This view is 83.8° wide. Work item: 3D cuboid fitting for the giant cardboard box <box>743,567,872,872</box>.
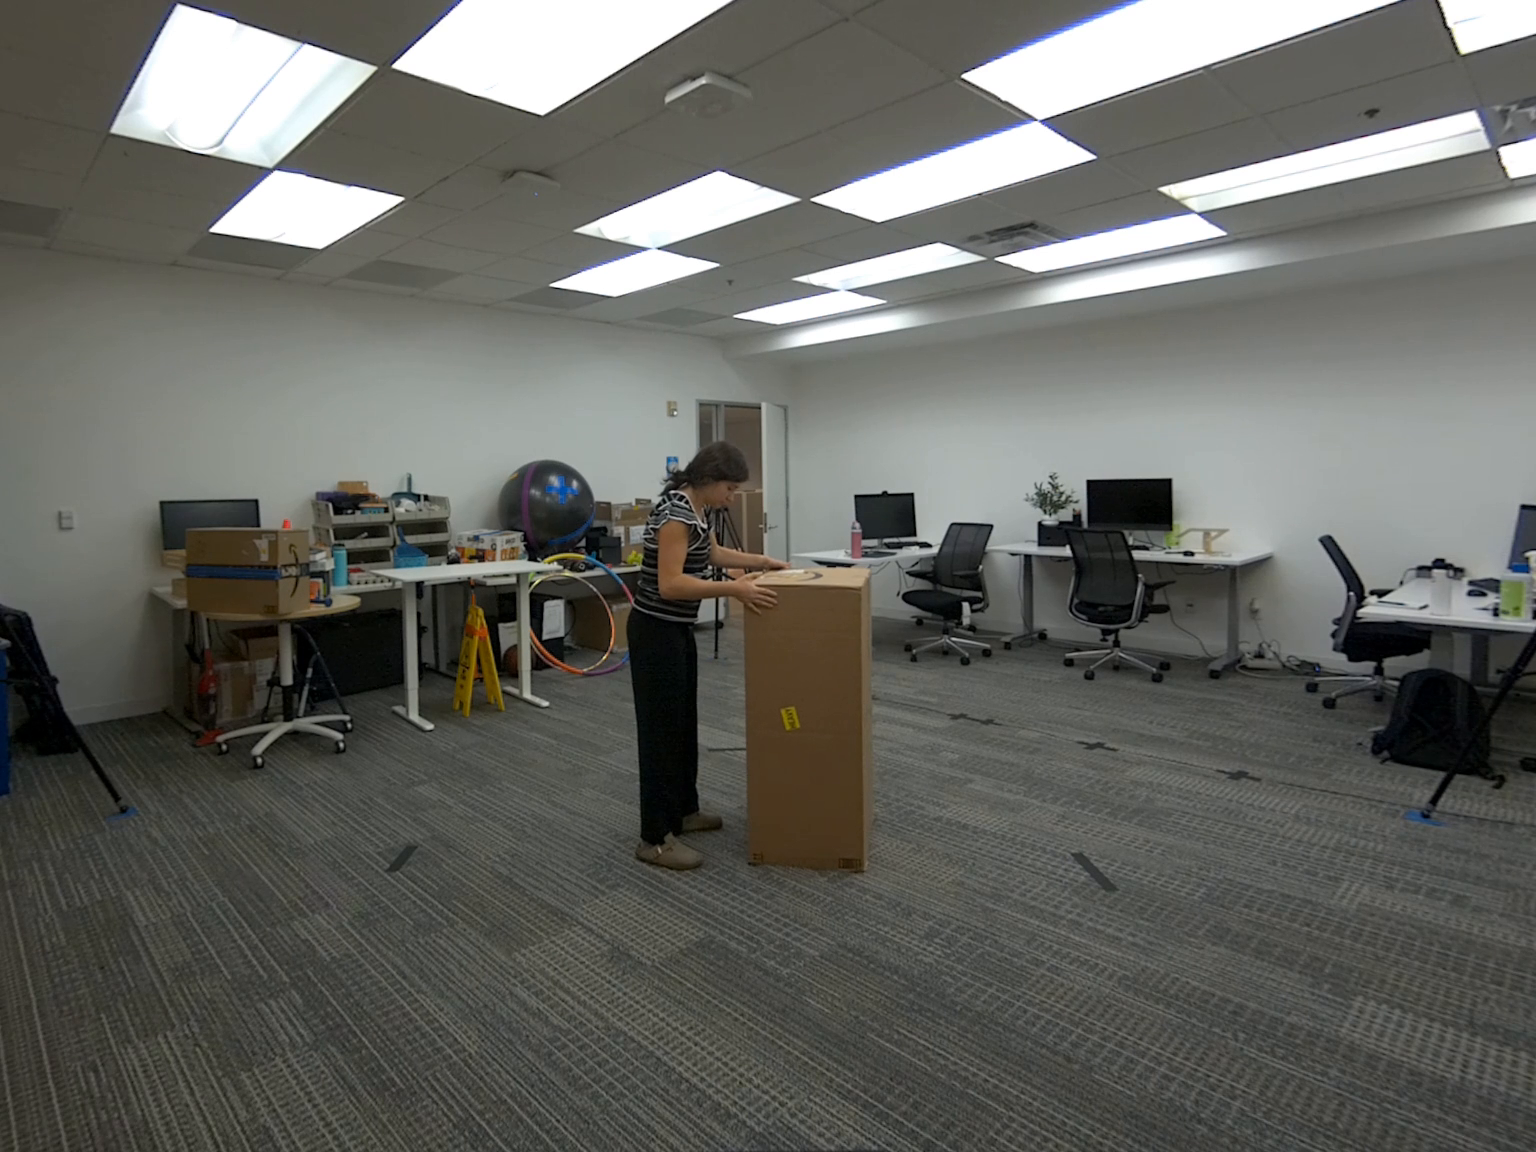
[{"bbox_3d":[0.173,0.513,3.308,0.431,1.022,0.573,0,4,11],"label":"giant cardboard box"}]
